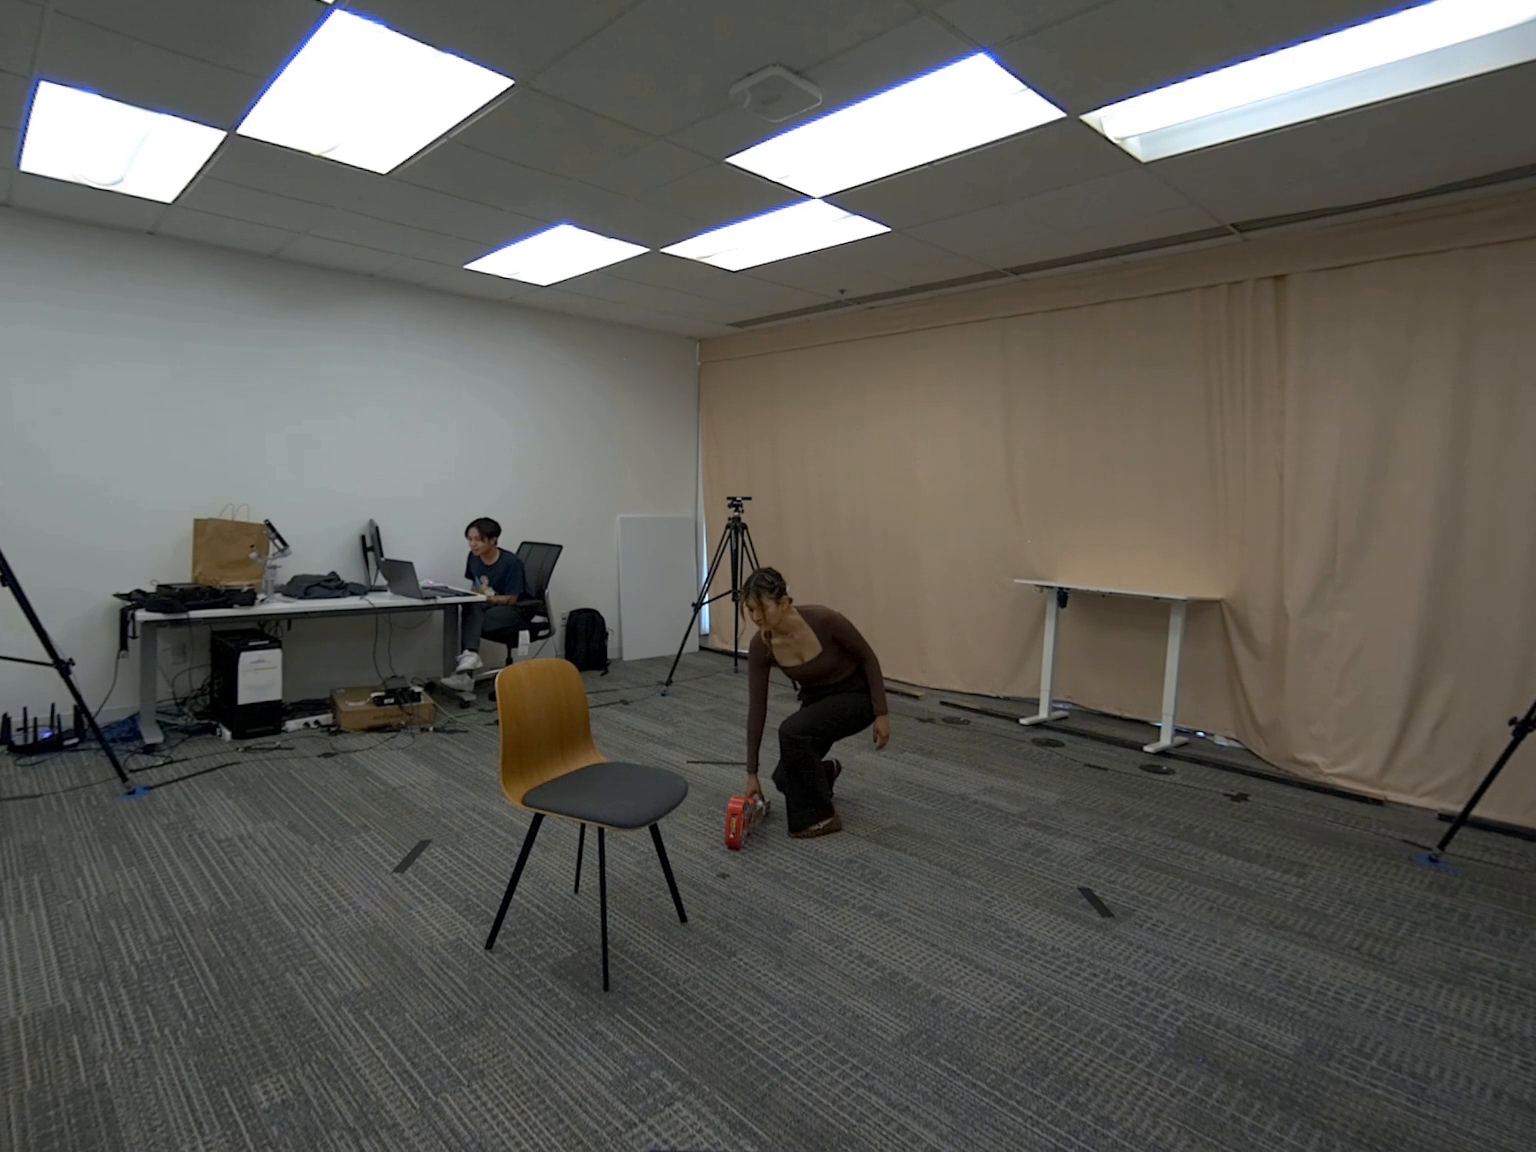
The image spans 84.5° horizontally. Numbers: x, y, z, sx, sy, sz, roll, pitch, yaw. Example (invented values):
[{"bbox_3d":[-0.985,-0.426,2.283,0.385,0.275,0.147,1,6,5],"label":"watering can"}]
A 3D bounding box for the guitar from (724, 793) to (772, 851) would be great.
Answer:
[{"bbox_3d":[-0.088,1.026,3.537,0.071,0.195,0.487,4,-14,14],"label":"guitar"}]
